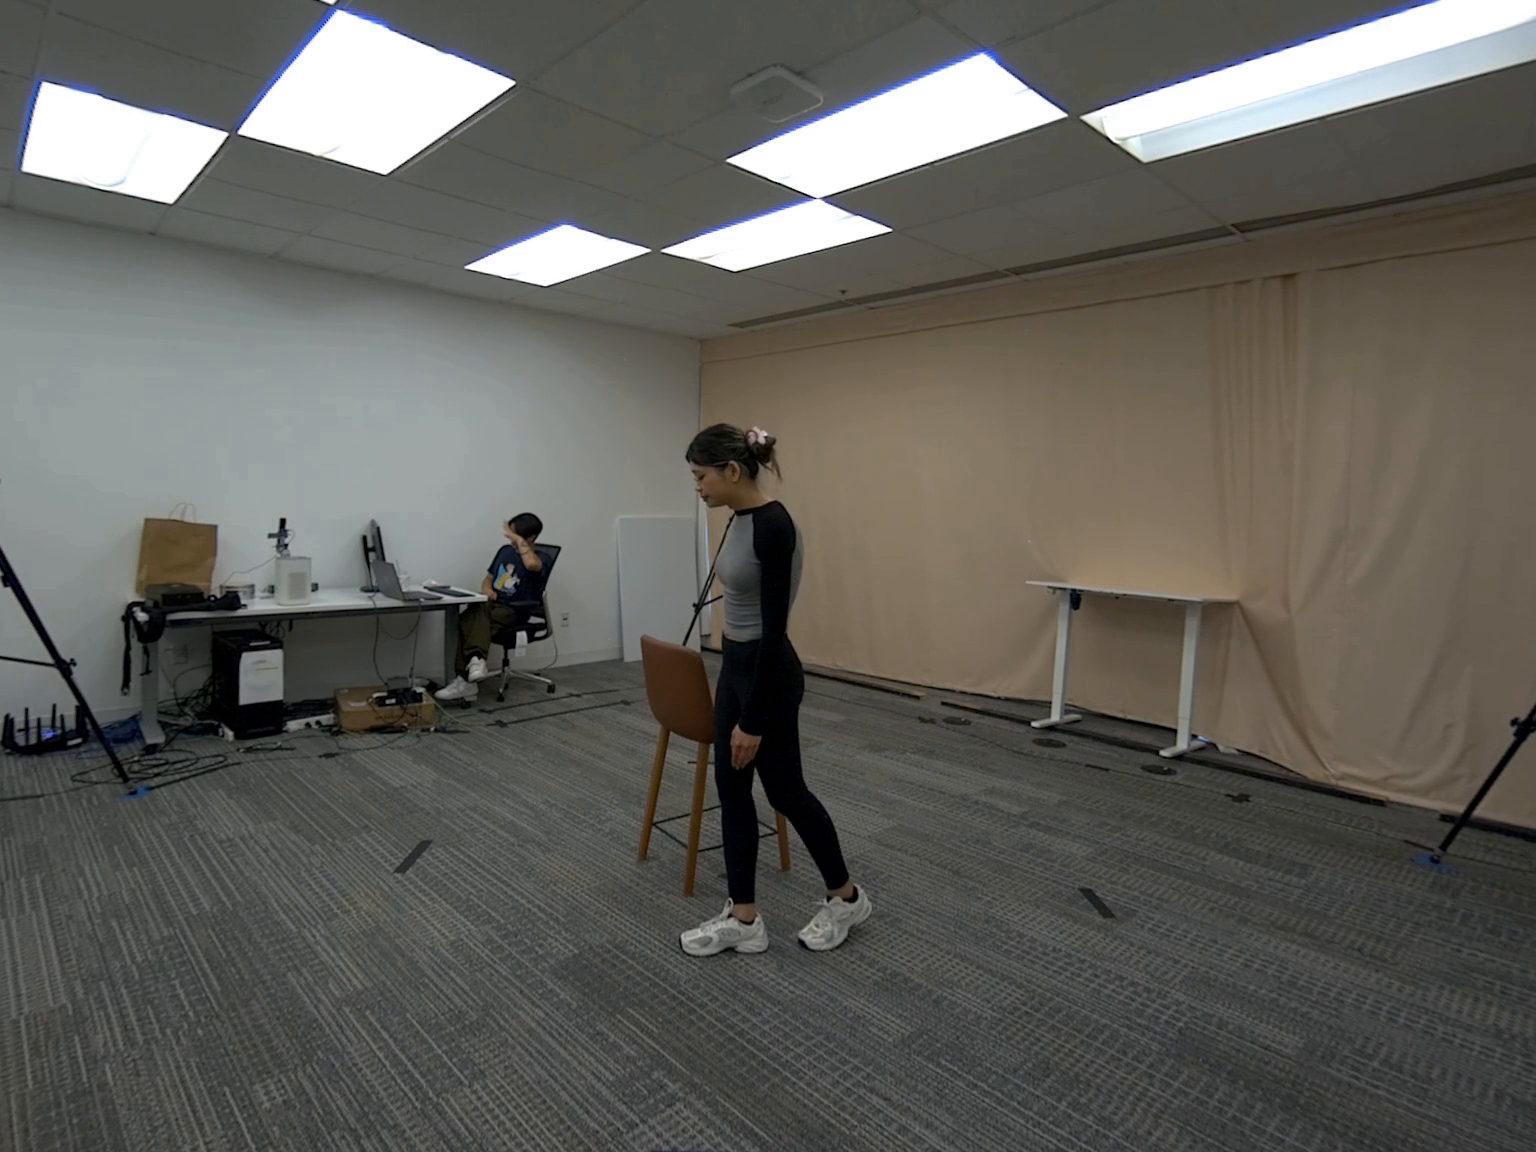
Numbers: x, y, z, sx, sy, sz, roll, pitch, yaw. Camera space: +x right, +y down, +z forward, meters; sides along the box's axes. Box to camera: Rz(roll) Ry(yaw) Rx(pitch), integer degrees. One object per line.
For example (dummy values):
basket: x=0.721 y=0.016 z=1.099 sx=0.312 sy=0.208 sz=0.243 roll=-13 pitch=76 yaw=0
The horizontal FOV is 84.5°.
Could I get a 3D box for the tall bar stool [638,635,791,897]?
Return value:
tall bar stool: x=-0.213 y=0.664 z=3.185 sx=0.458 sy=0.887 sz=0.468 roll=-3 pitch=5 yaw=-36
